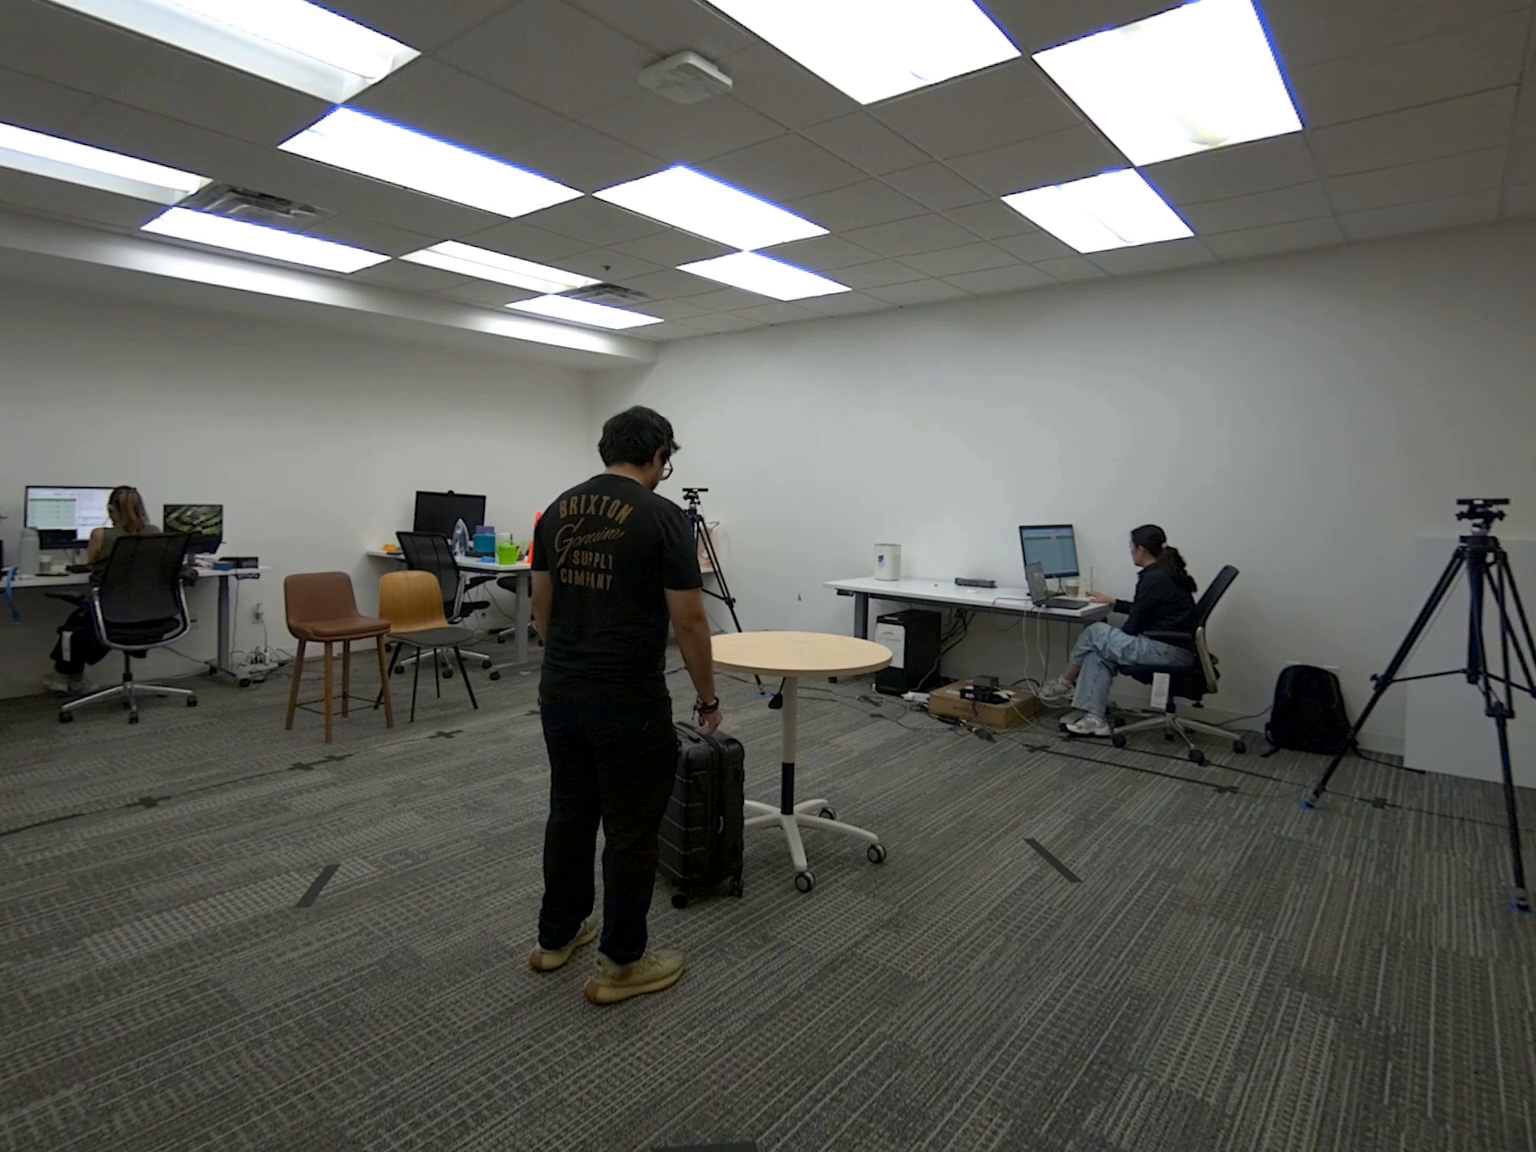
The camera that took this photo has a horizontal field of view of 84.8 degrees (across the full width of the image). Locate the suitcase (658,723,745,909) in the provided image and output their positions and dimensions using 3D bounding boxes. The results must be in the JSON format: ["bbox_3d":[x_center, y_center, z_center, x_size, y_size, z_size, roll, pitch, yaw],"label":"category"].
[{"bbox_3d":[-0.273,0.800,2.989,0.241,0.547,0.387,0,5,-32],"label":"suitcase"}]
